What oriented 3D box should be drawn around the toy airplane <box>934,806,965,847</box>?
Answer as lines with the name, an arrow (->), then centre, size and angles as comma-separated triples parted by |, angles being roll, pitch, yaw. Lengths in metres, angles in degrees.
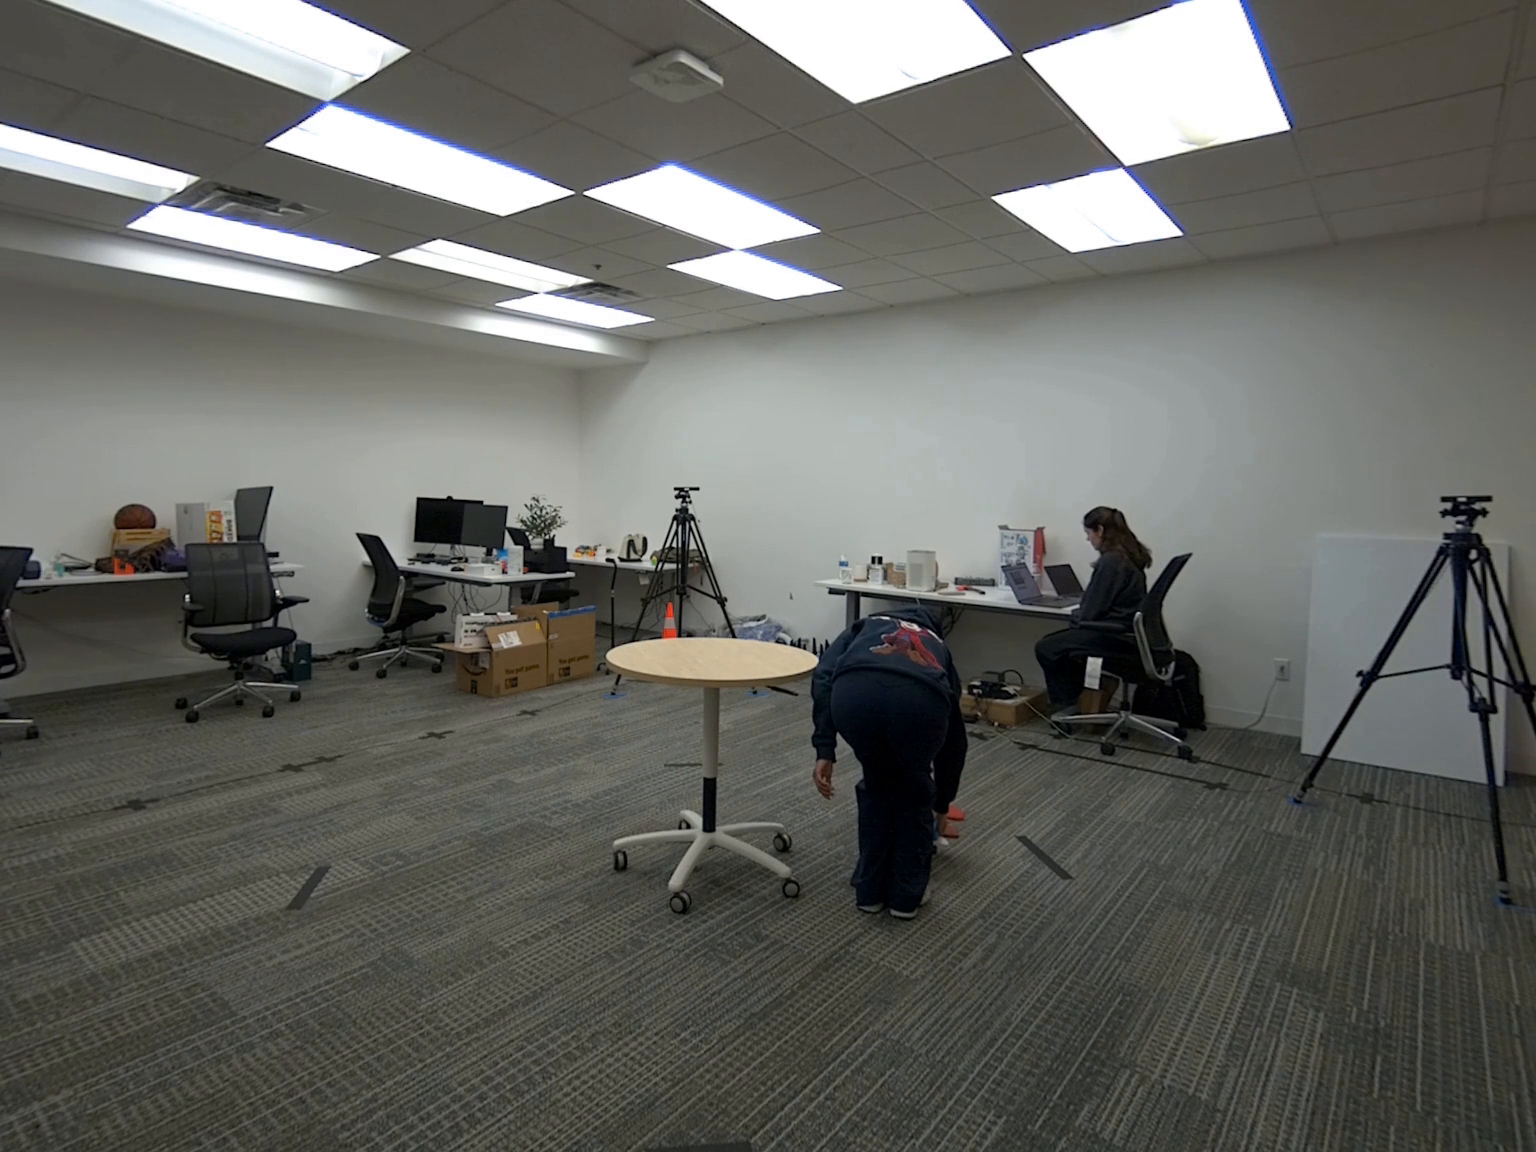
toy airplane -> 0.627, 0.943, 3.221 | 0.244, 0.156, 0.267 | 12, 1, -26
